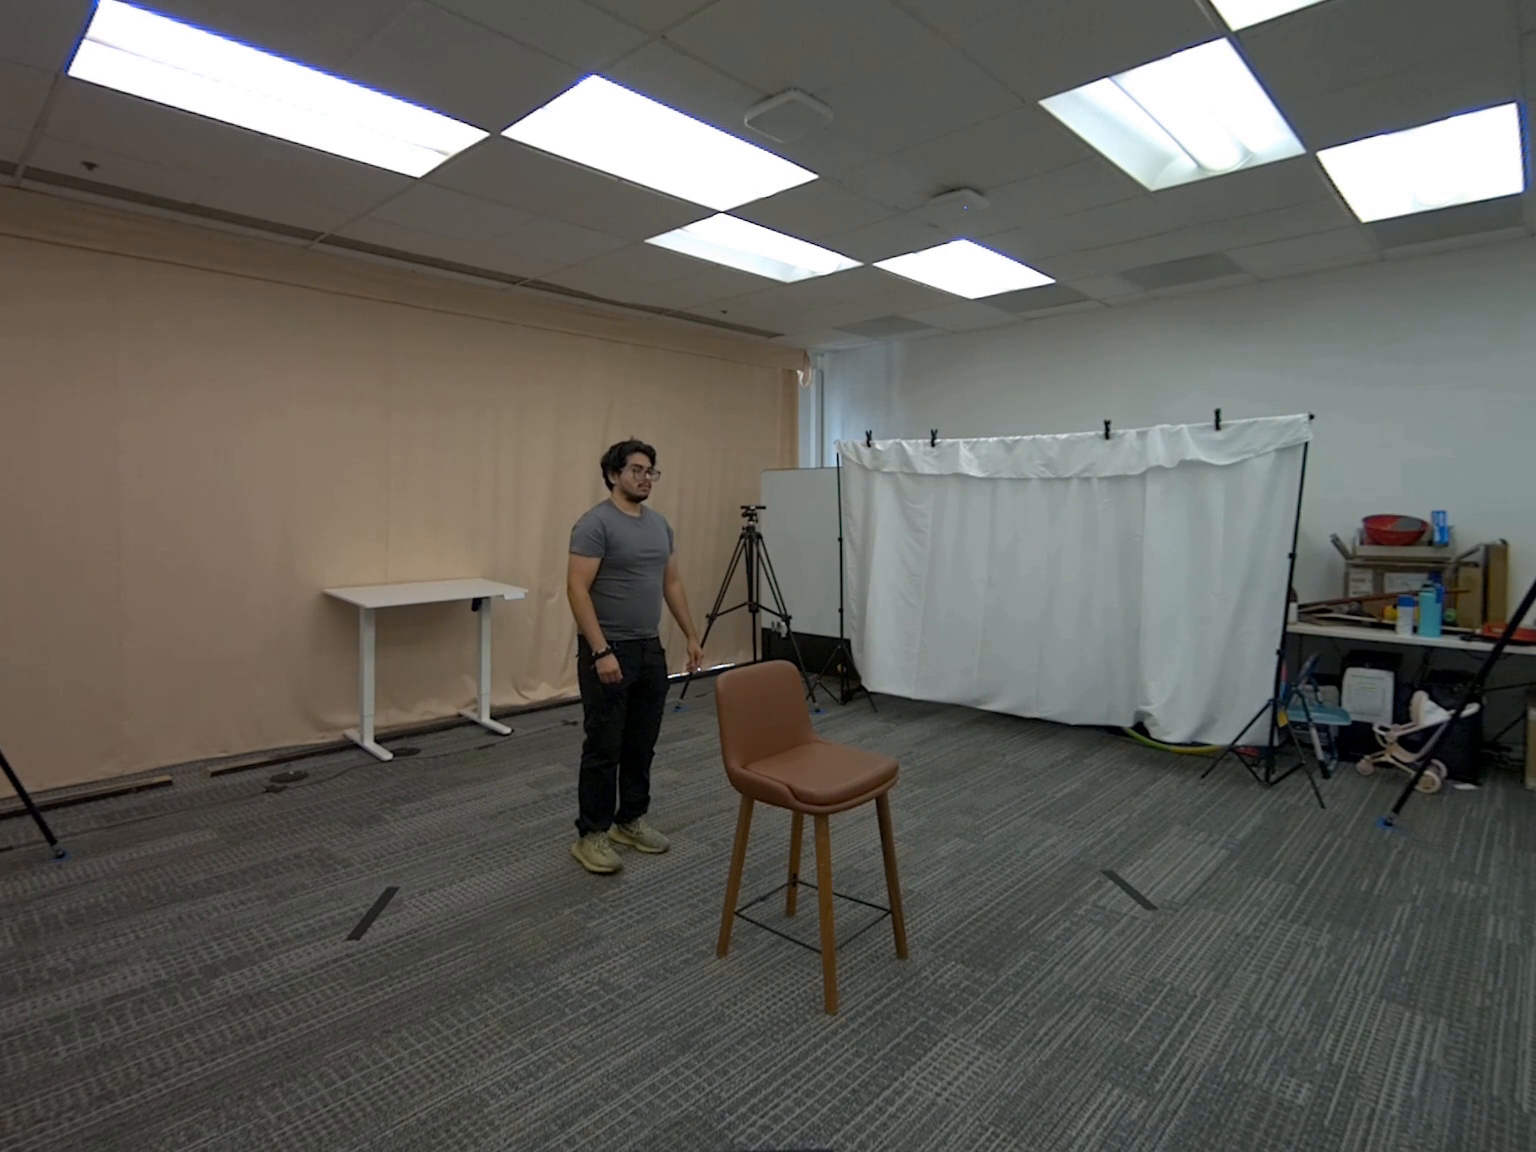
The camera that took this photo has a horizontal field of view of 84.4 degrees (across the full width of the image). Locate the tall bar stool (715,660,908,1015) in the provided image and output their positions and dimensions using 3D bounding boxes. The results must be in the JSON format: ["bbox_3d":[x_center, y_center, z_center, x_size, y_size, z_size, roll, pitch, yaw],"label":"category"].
[{"bbox_3d":[0.132,0.744,2.576,0.483,0.888,0.443,1,3,41],"label":"tall bar stool"}]
